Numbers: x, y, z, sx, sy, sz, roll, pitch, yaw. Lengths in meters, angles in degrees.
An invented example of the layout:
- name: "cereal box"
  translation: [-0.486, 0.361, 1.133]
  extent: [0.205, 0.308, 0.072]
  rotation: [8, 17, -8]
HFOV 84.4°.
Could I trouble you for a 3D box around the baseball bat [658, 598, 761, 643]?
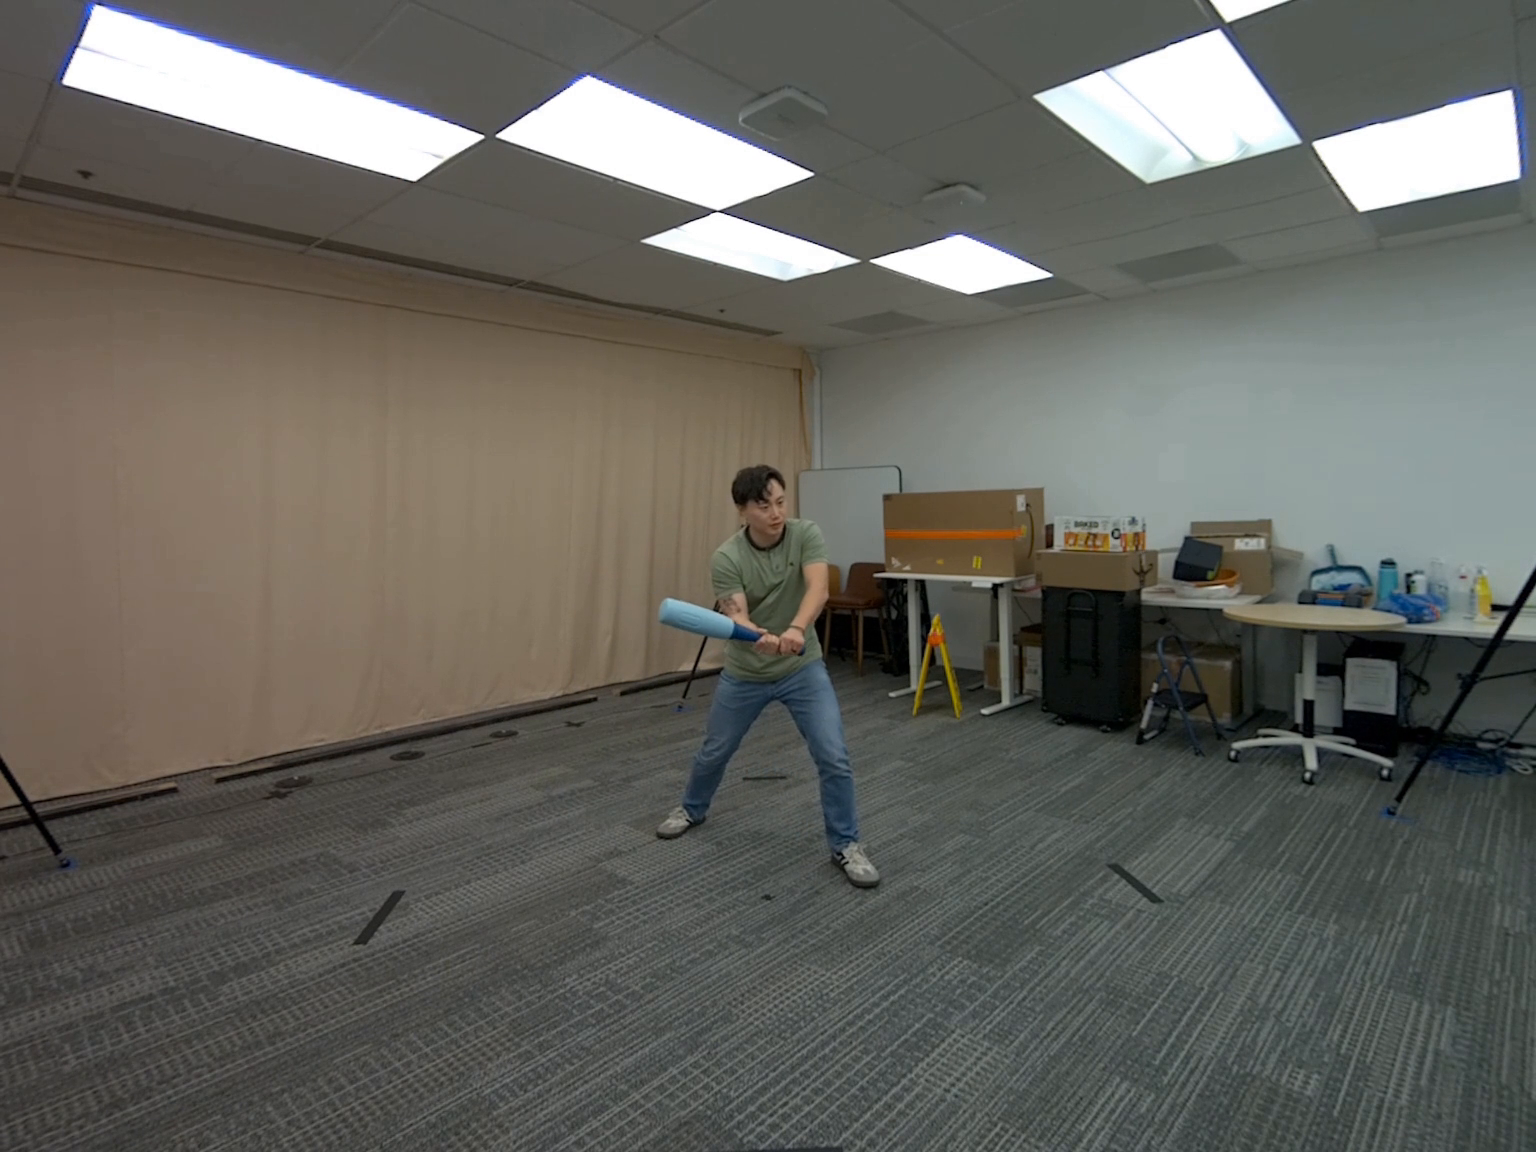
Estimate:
- name: "baseball bat"
  translation: [-0.110, 0.182, 2.820]
  extent: [0.530, 0.089, 0.091]
  rotation: [17, -3, -21]
